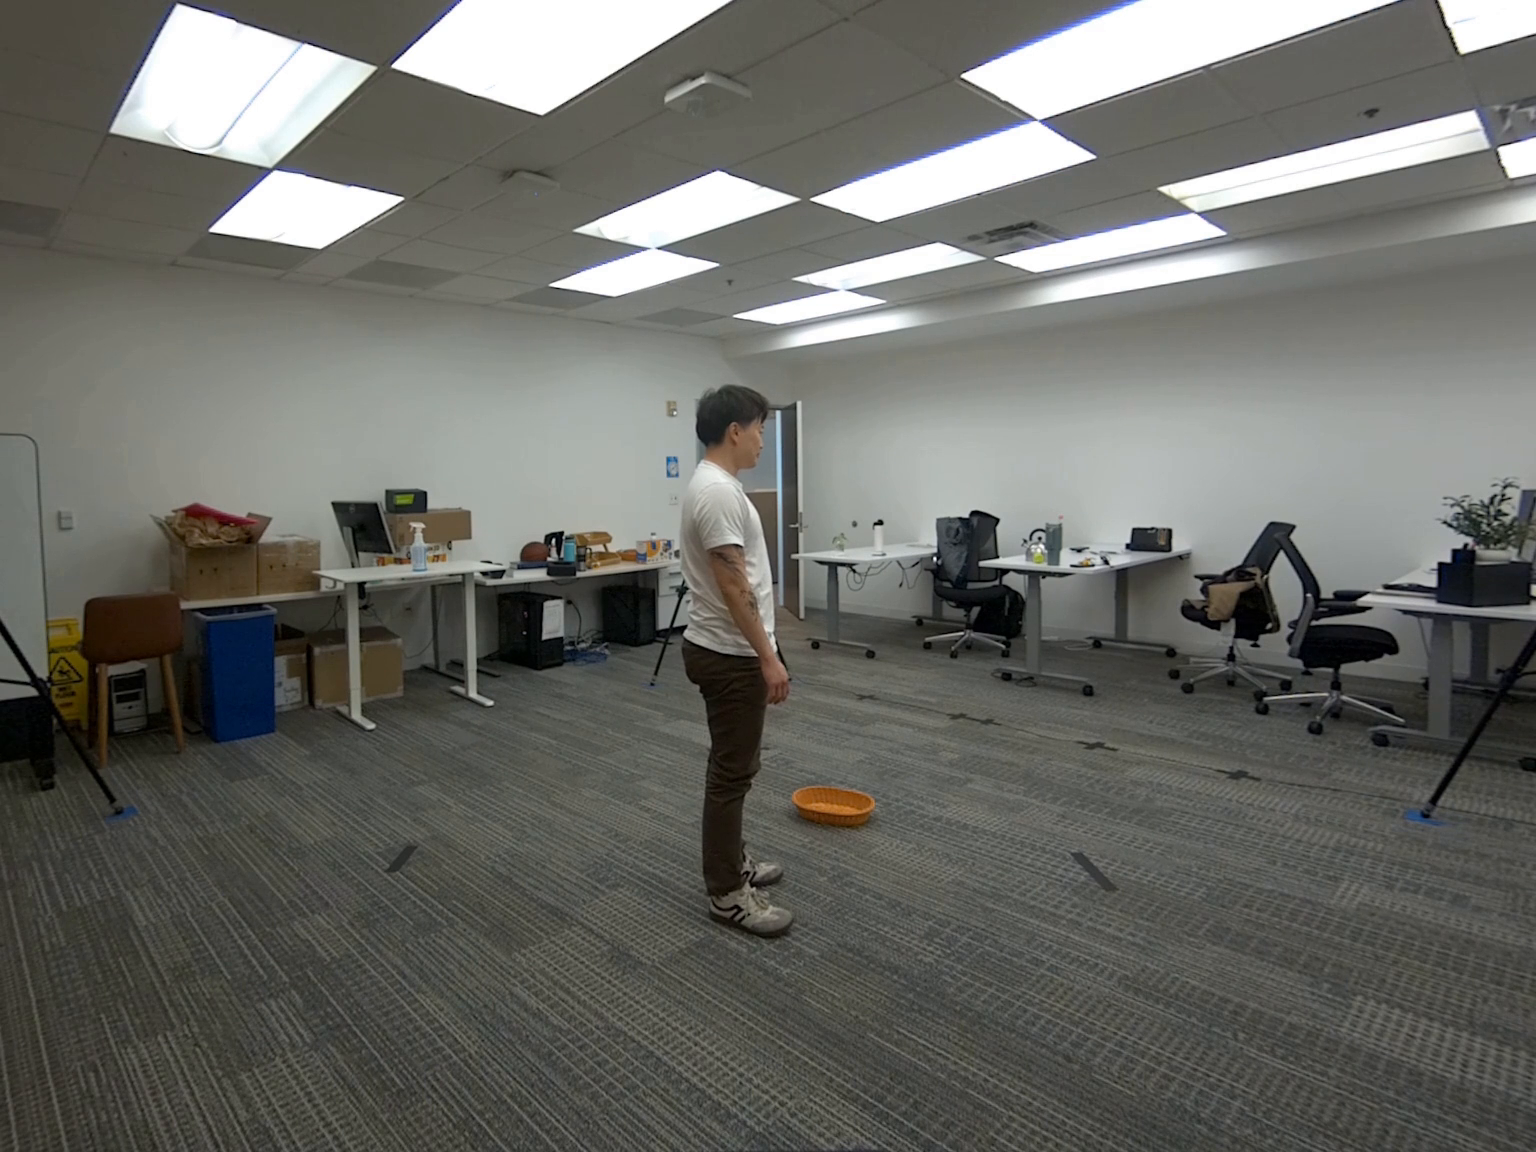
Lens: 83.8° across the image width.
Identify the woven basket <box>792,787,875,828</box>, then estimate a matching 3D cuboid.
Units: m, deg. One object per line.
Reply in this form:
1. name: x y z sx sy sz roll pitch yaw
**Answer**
1. woven basket: 0.265 0.954 3.522 0.359 0.073 0.248 3 9 26
